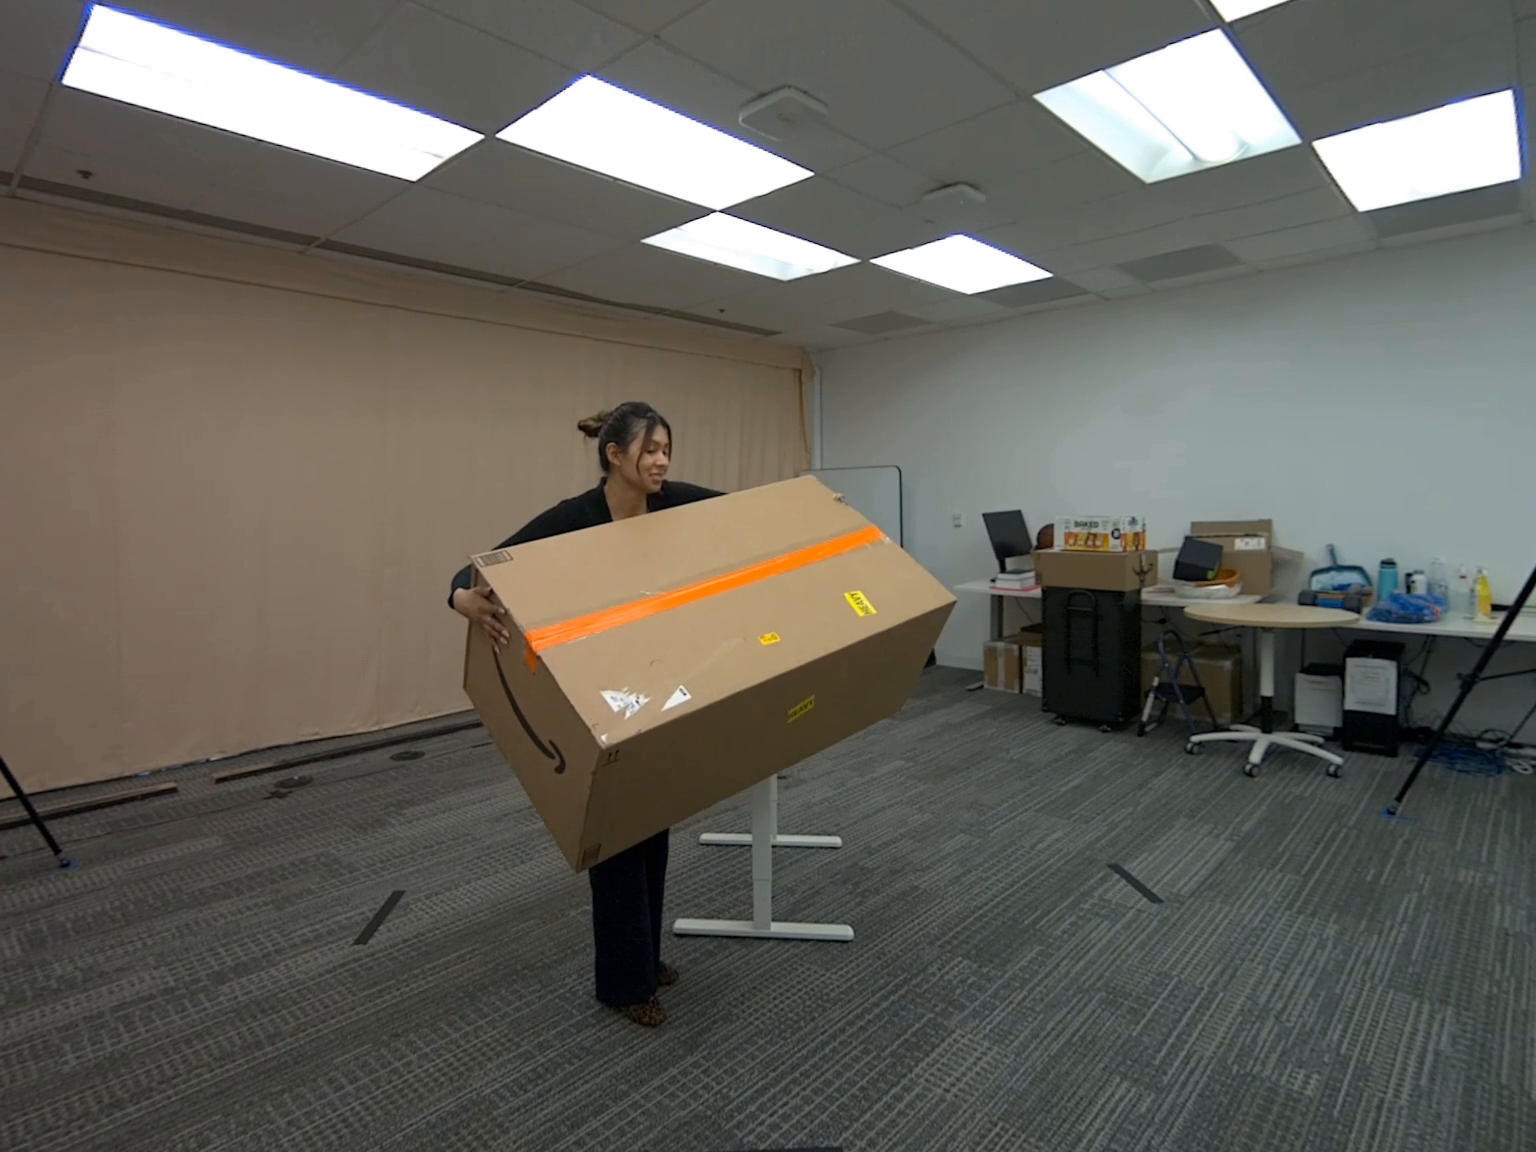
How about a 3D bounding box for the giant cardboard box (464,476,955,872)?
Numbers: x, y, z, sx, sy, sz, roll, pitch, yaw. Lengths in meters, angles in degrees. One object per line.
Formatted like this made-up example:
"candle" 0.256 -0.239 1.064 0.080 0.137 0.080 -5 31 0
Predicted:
"giant cardboard box" -0.129 0.169 2.072 1.001 0.423 0.596 -17 50 -36
